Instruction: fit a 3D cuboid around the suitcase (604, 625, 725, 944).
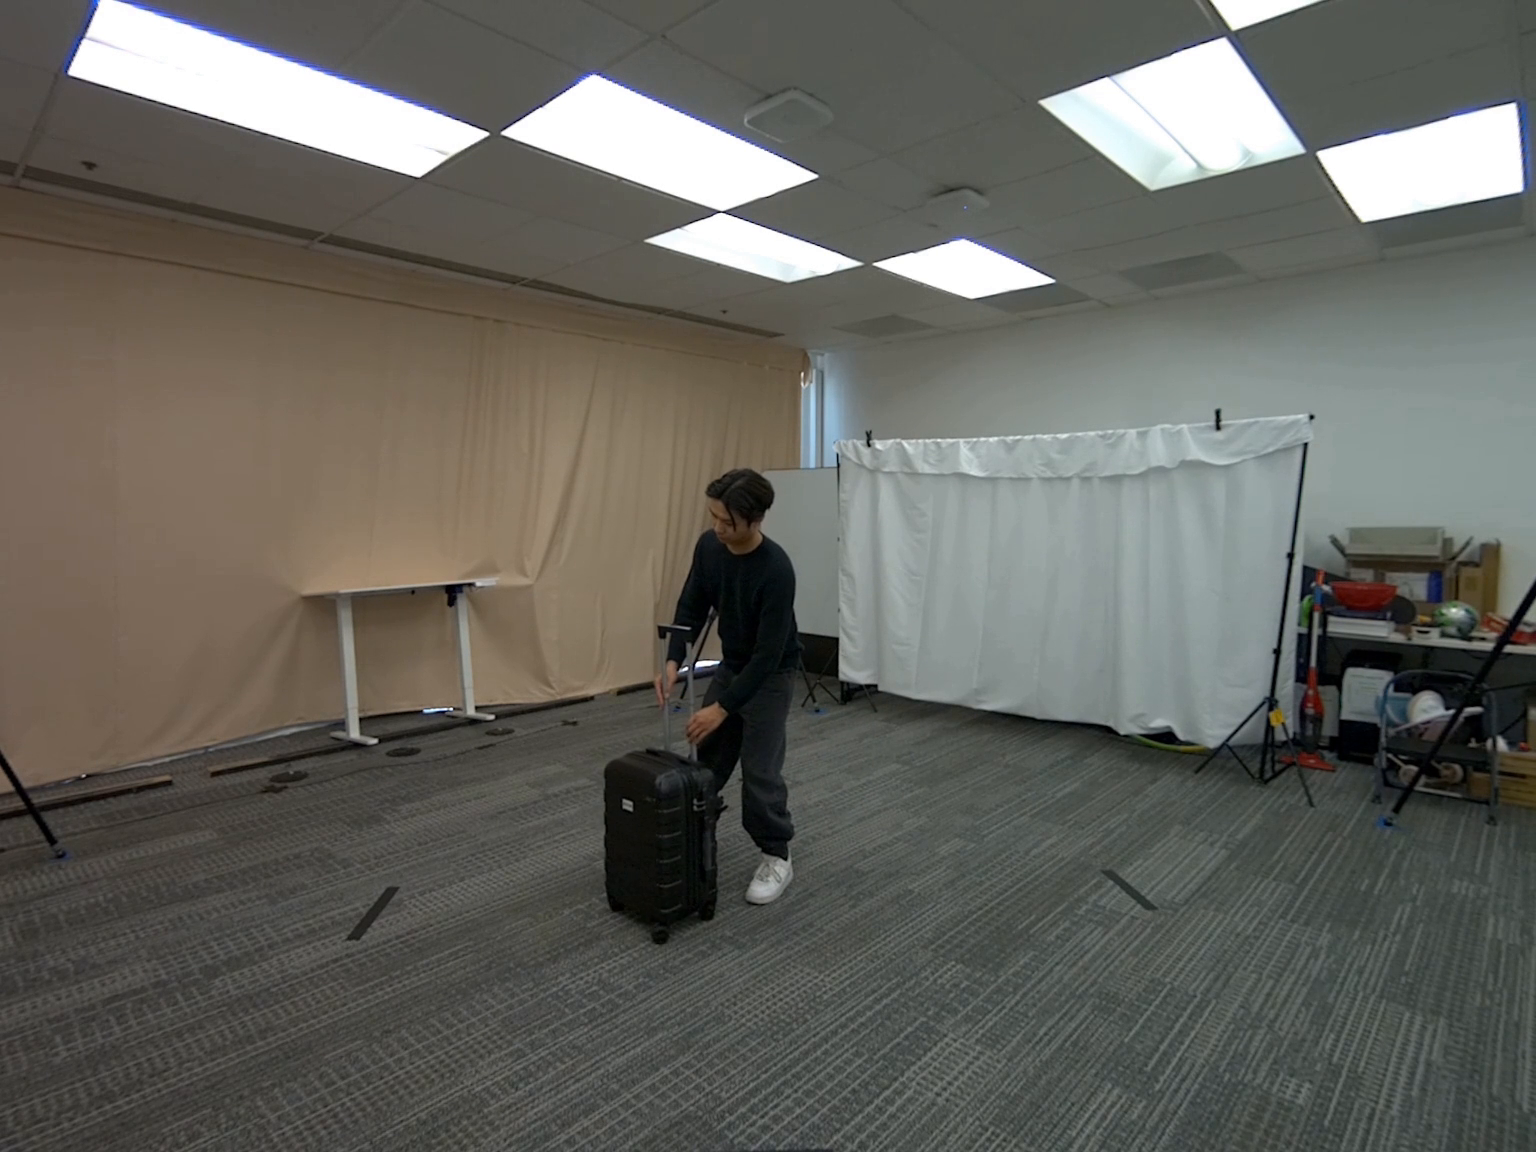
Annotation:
[{"bbox_3d":[-0.372,0.682,2.837,0.397,0.975,0.249,4,7,44],"label":"suitcase"}]
